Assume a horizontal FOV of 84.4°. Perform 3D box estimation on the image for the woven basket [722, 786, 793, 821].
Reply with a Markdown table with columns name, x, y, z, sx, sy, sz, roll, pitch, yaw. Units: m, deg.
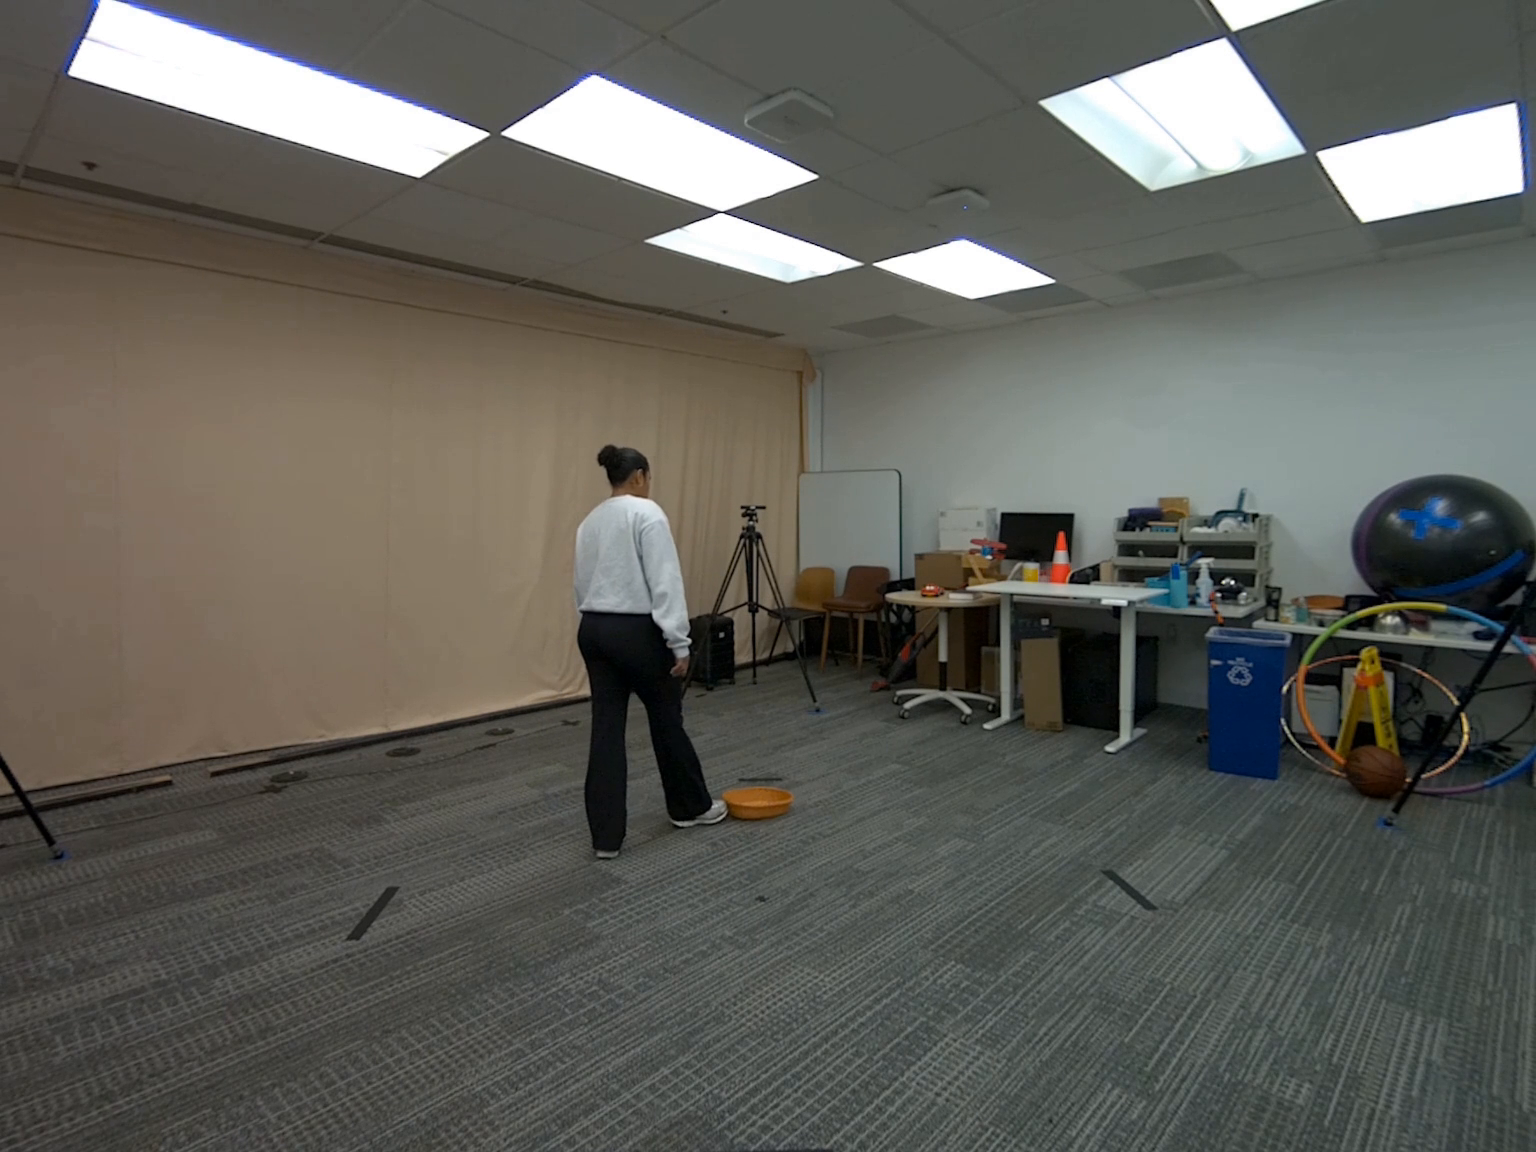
| name | x | y | z | sx | sy | sz | roll | pitch | yaw |
| --- | --- | --- | --- | --- | --- | --- | --- | --- | --- |
| woven basket | -0.059 | 1.032 | 3.794 | 0.340 | 0.073 | 0.260 | 1 | 3 | -33 |
